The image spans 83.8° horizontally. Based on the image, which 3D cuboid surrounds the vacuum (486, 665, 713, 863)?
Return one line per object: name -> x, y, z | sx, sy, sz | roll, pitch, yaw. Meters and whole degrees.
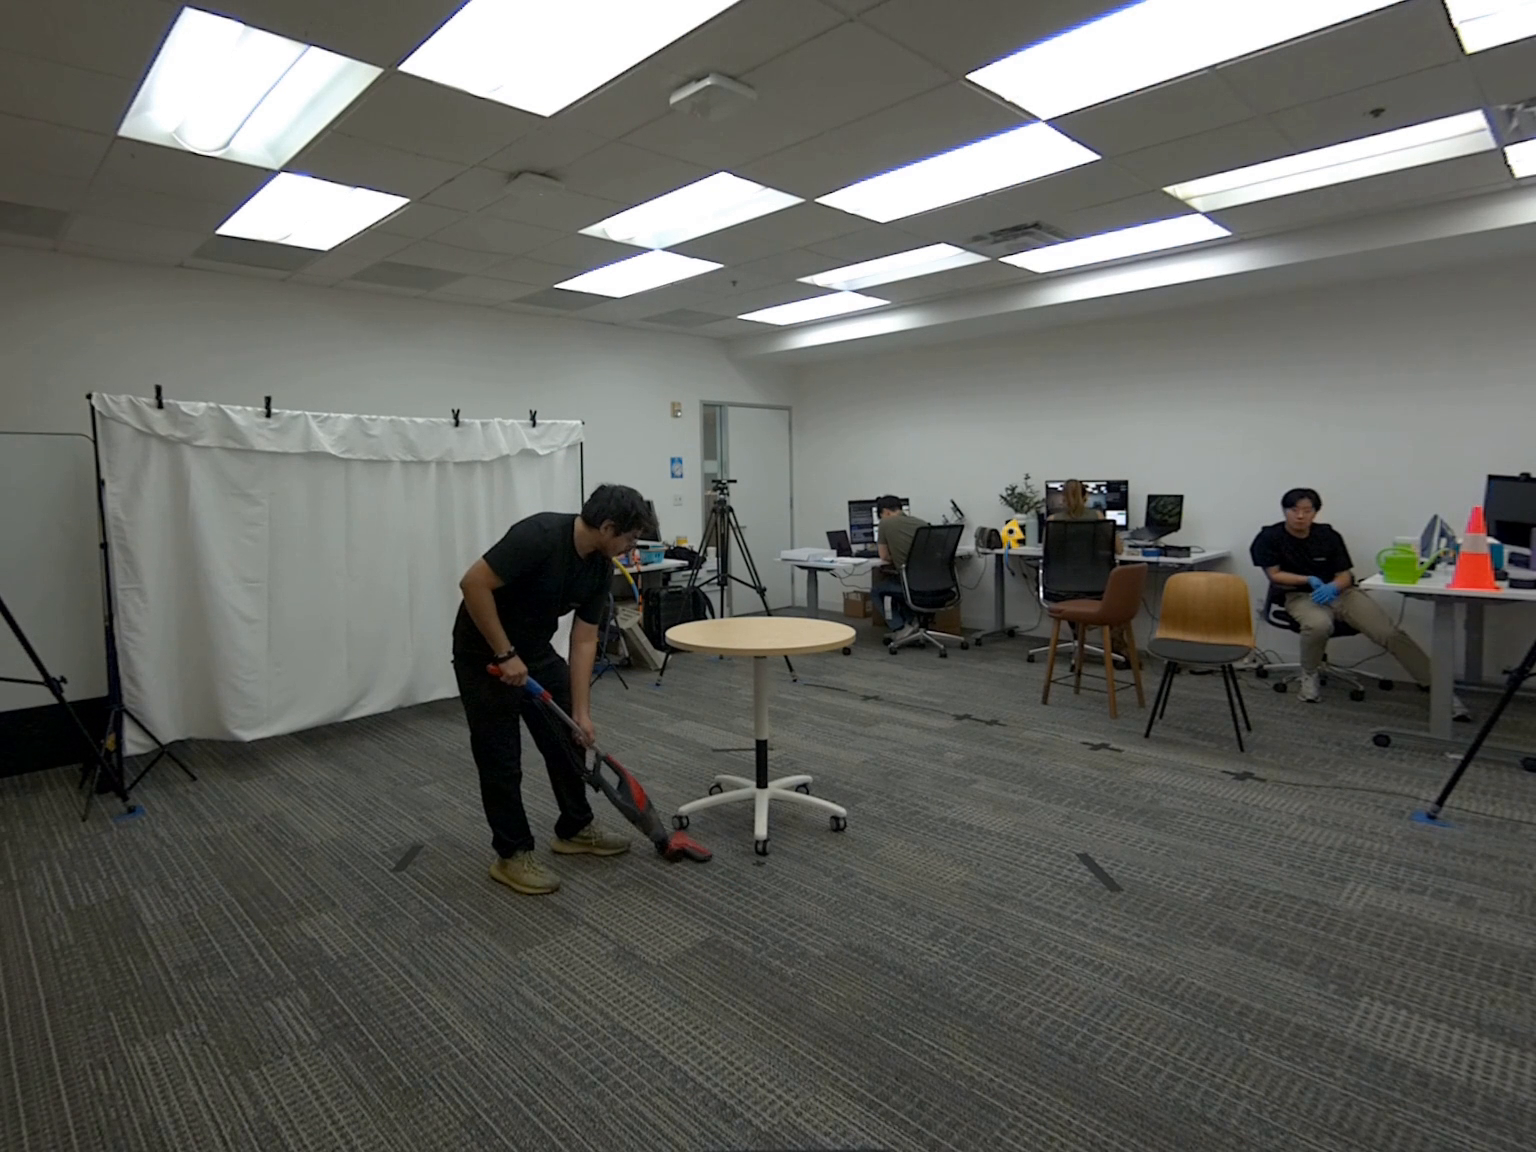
vacuum -> -0.602, 0.659, 3.003 | 0.144, 1.018, 0.260 | -46, 27, -18
